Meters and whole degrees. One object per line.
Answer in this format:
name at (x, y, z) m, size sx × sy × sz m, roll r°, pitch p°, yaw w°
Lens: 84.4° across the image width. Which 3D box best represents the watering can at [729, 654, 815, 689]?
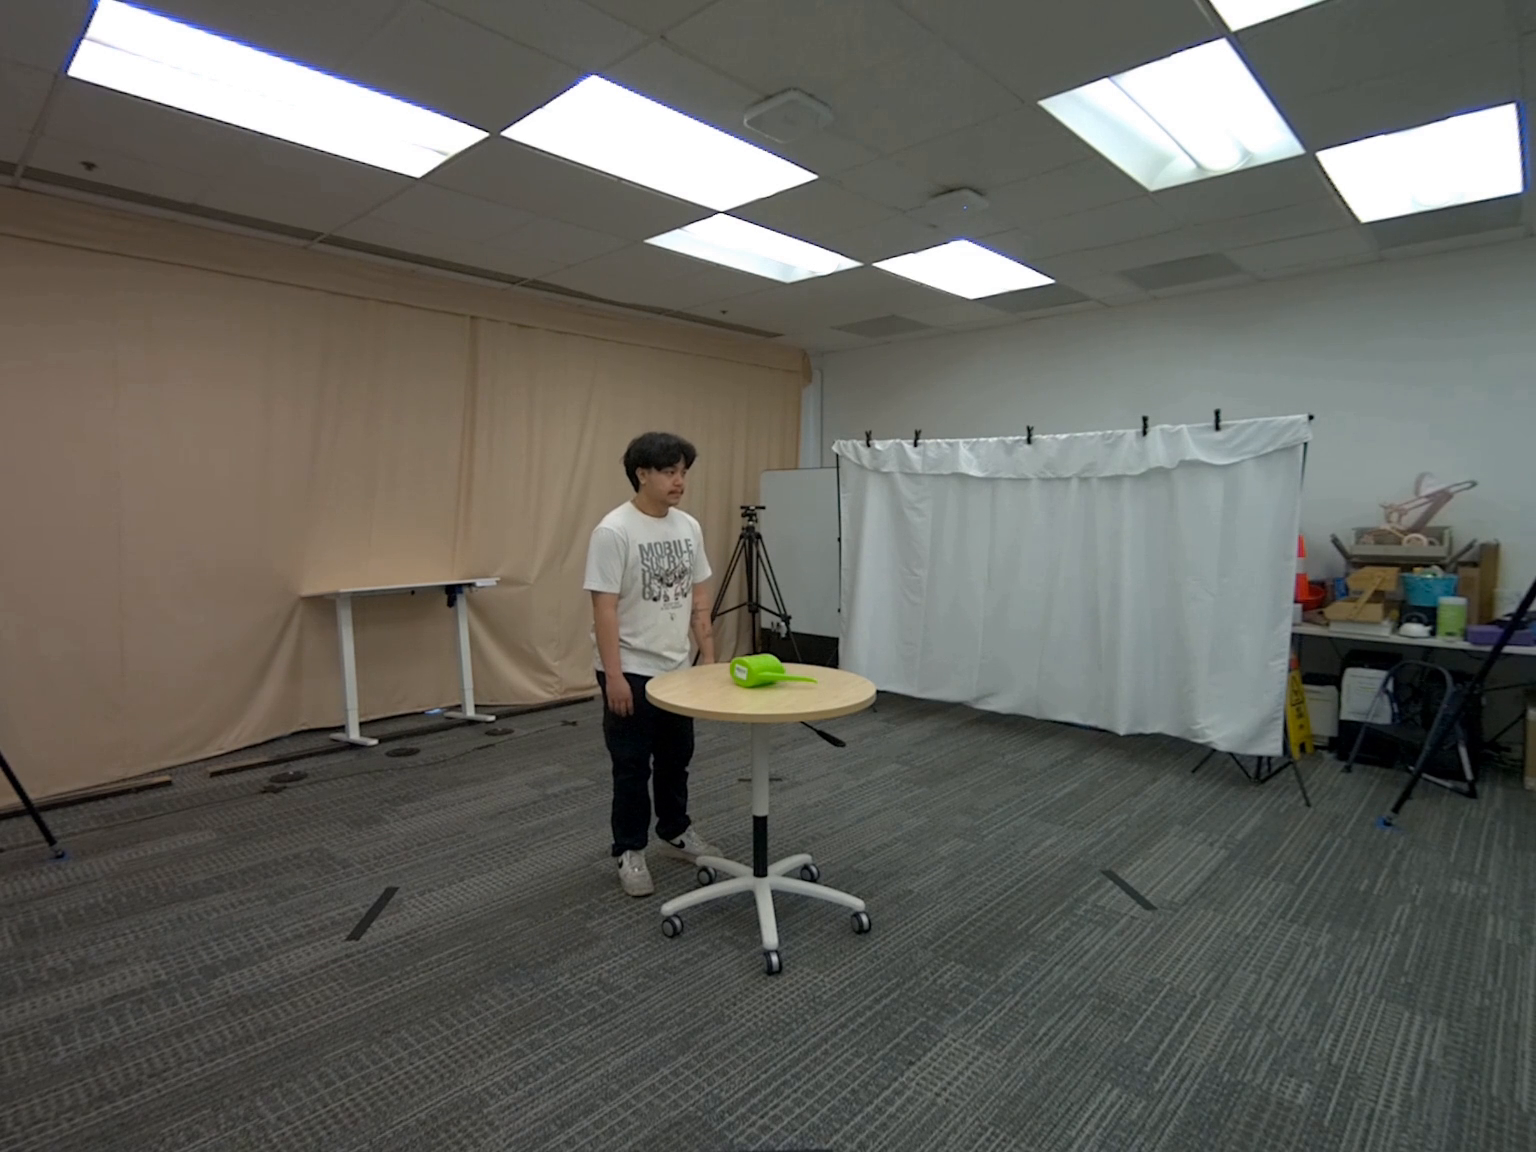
watering can at (0.009, 0.313, 2.805) m, size 0.171 × 0.098 × 0.287 m, roll -5°, pitch 2°, yaw -42°
